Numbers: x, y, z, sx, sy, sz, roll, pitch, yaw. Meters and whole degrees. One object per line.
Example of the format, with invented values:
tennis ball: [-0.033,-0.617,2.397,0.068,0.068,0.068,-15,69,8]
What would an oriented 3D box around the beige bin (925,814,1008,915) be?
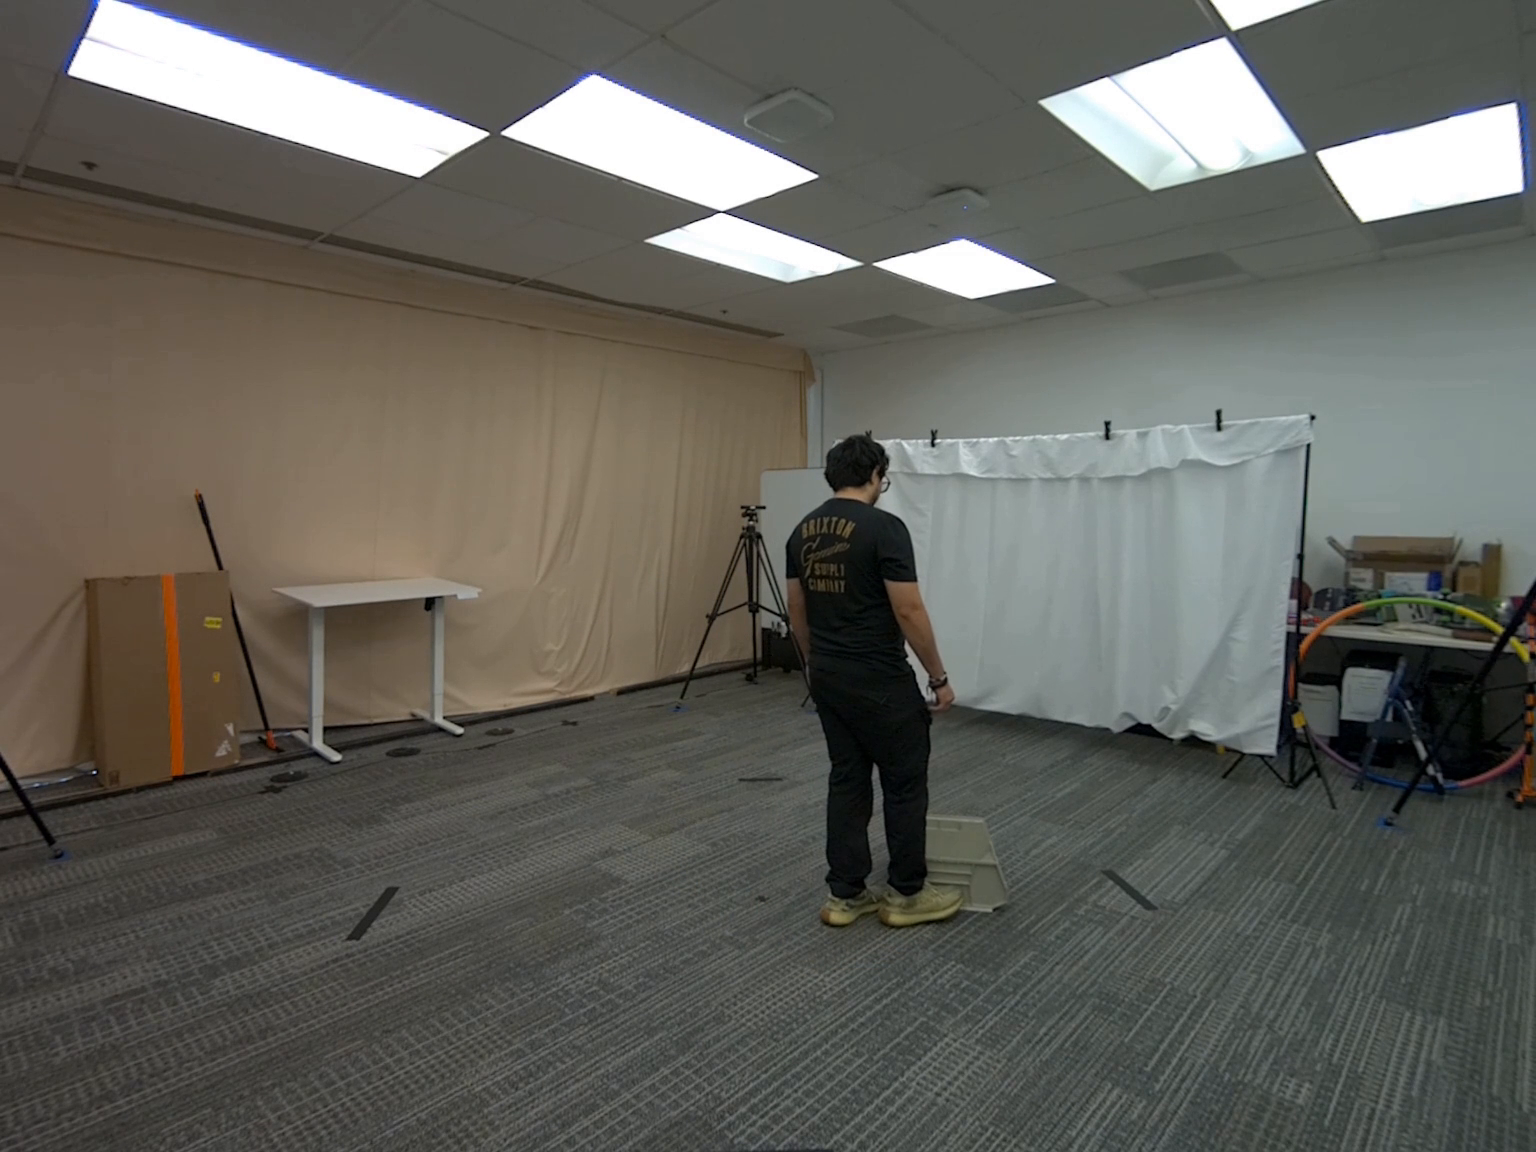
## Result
beige bin: [0.665,1.047,3.097,0.381,0.188,0.419,0,5,9]
